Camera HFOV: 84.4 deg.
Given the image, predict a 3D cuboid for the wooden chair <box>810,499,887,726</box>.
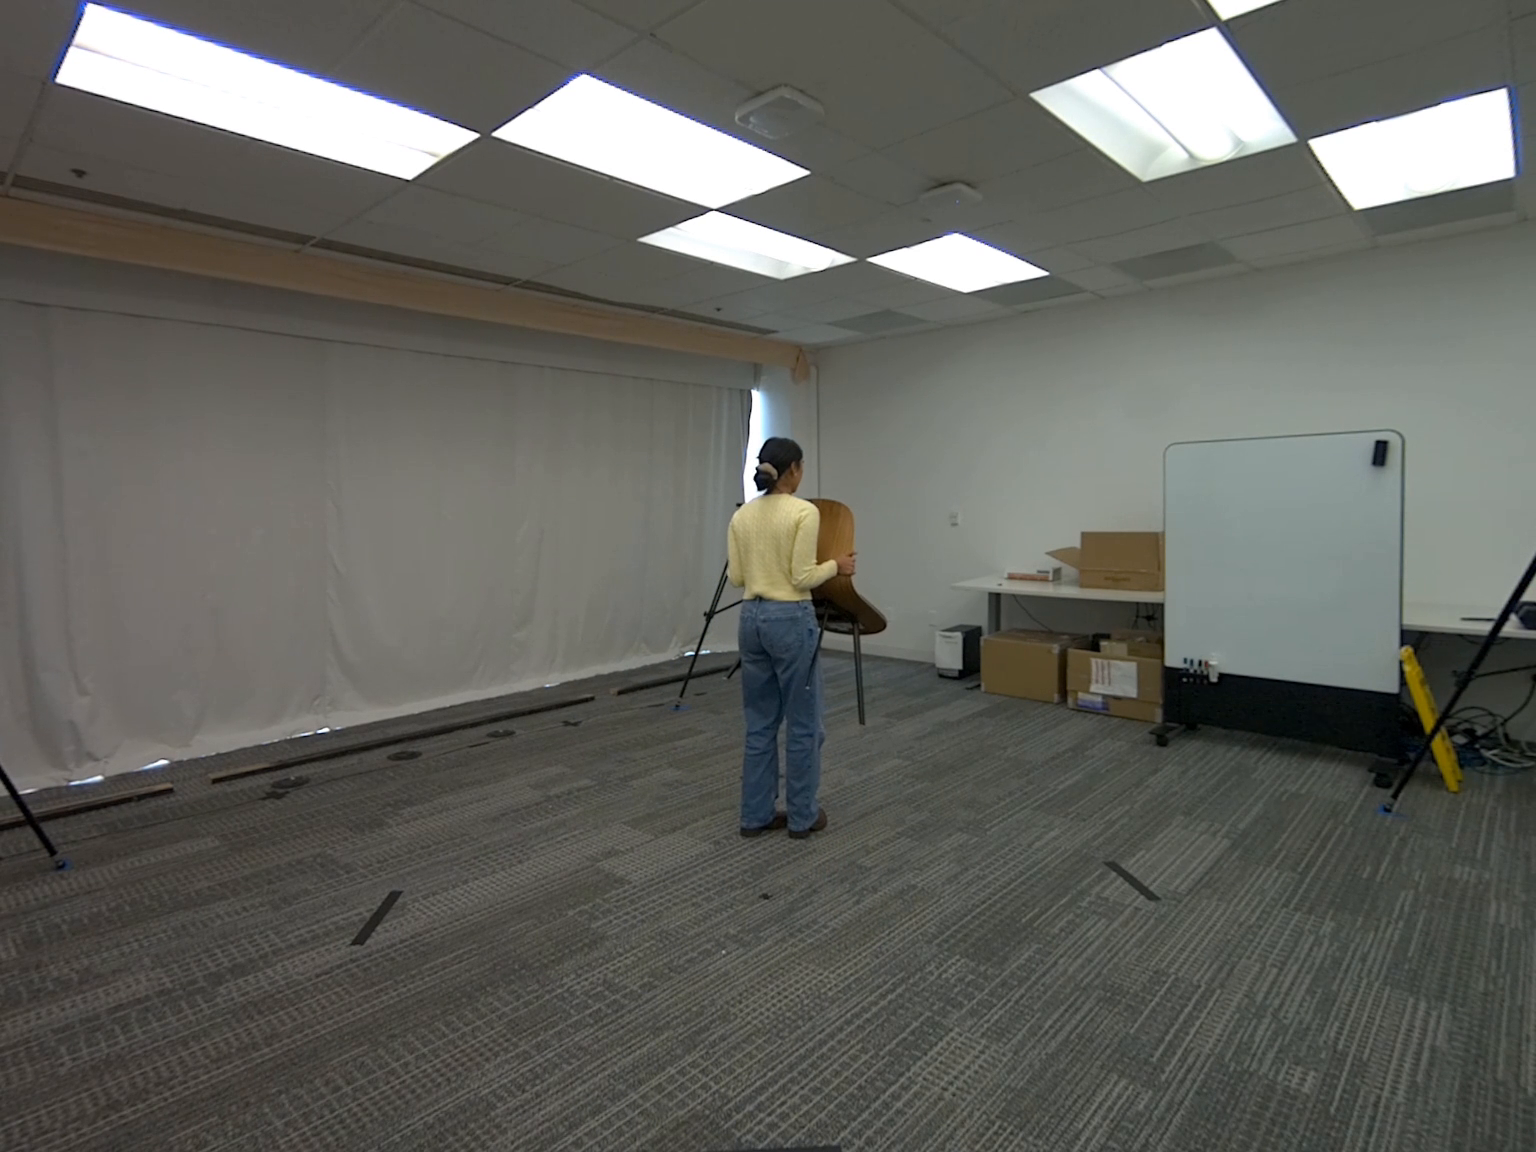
[{"bbox_3d":[0.244,0.163,3.750,0.493,0.882,0.504,-2,-24,40],"label":"wooden chair"}]
